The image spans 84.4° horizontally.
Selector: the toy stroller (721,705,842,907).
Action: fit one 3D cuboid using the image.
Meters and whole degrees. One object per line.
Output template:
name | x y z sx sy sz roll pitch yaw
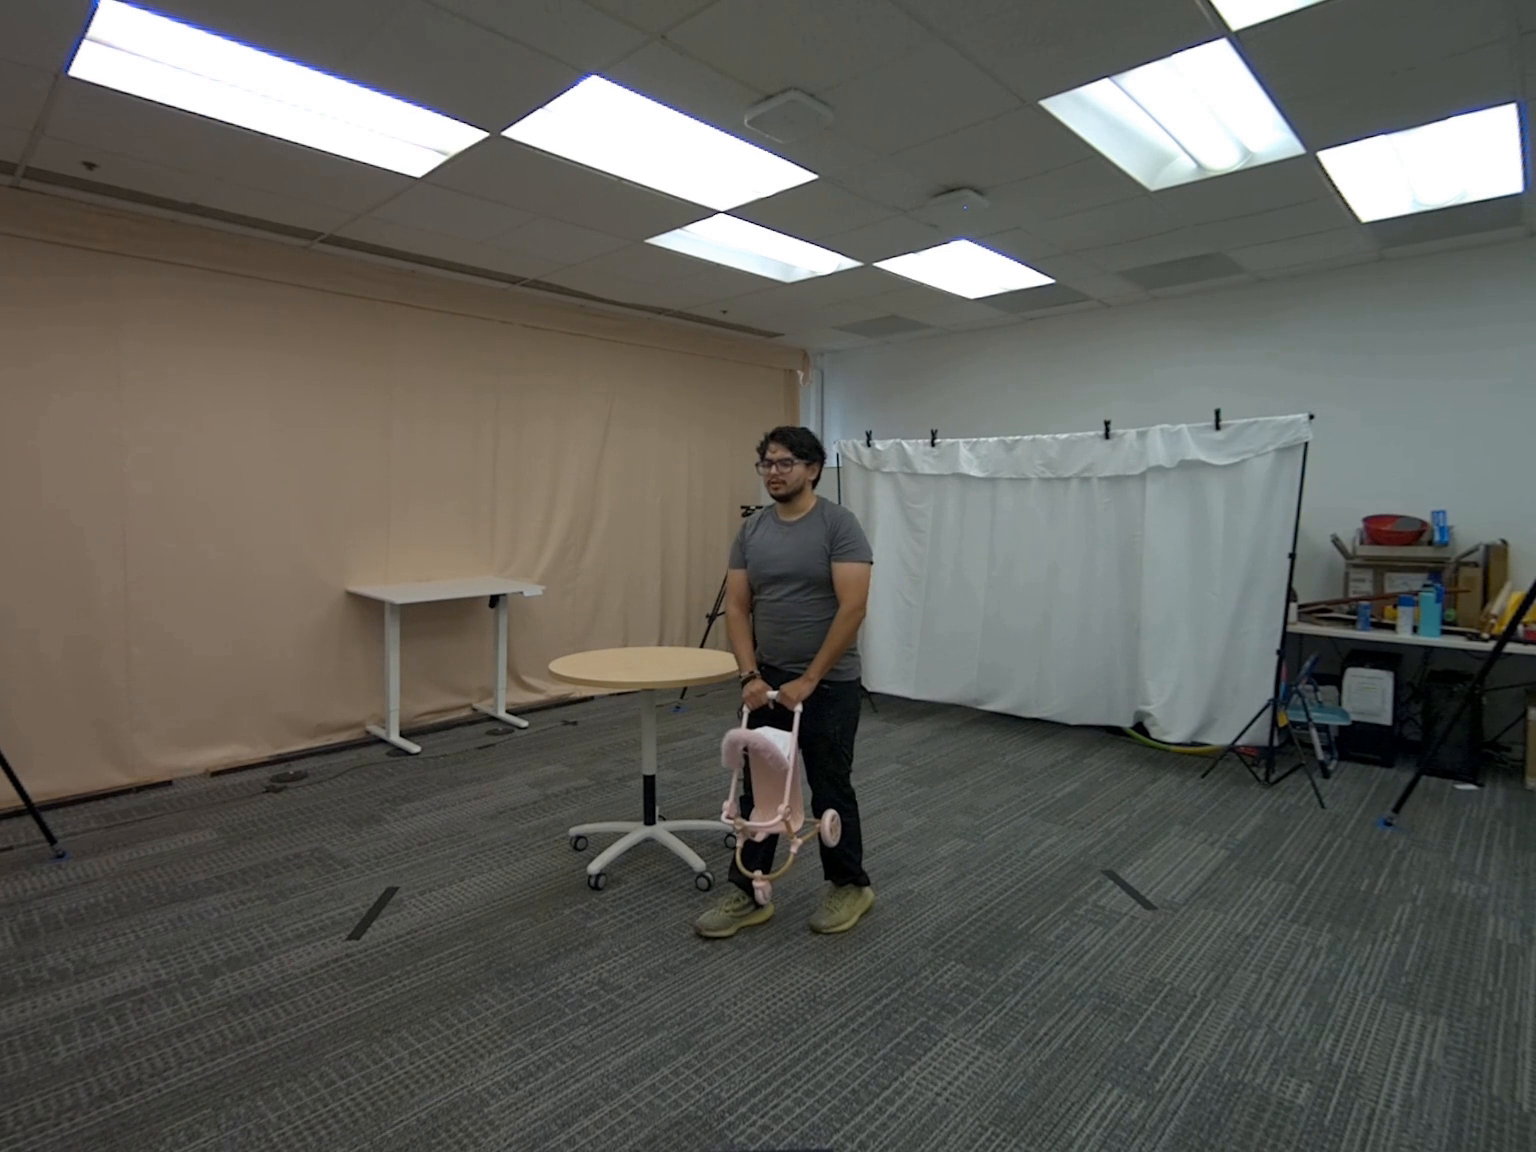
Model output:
toy stroller | 0.003 0.659 2.526 0.290 0.531 0.334 -5 12 37
